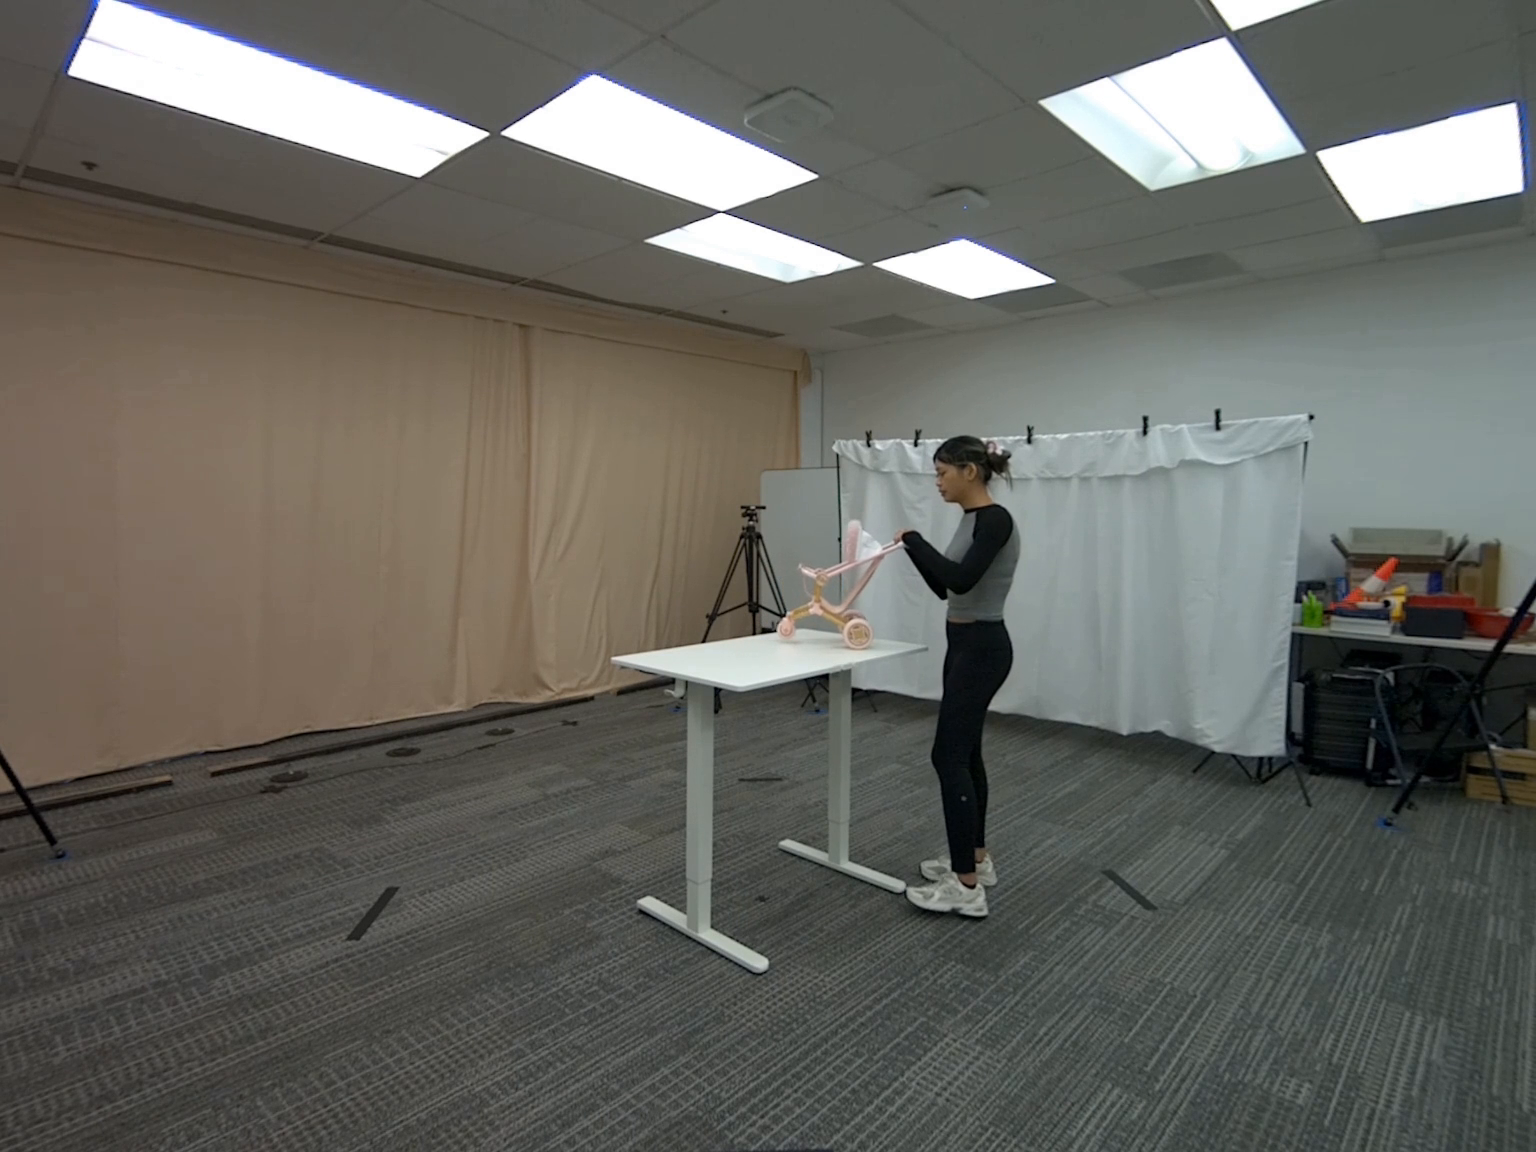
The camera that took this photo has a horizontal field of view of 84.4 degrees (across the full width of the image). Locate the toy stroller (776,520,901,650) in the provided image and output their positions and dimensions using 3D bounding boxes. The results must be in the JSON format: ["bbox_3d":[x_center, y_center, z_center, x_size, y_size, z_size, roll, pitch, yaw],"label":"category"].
[{"bbox_3d":[0.277,0.031,3.108,0.345,0.534,0.279,21,4,7],"label":"toy stroller"}]
